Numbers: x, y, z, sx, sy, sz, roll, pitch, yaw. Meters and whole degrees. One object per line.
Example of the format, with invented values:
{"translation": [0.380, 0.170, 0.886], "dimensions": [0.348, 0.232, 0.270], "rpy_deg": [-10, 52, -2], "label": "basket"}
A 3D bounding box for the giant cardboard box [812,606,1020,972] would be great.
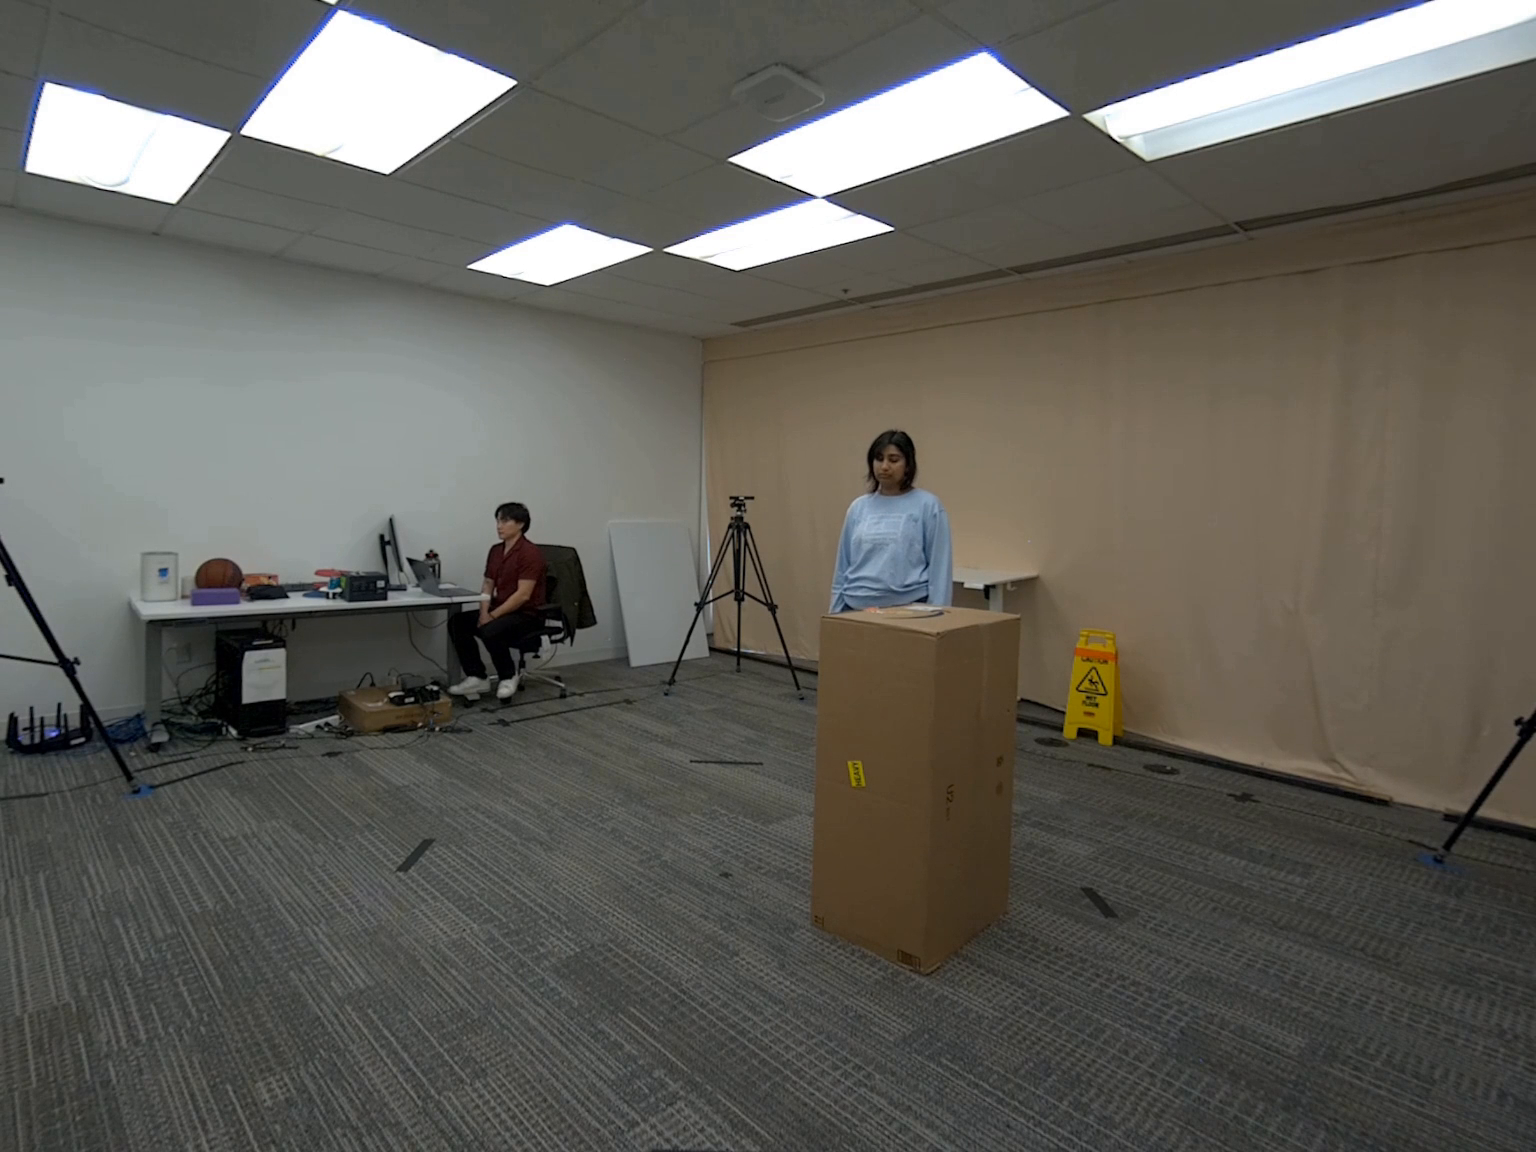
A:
{"translation": [0.487, 0.637, 2.796], "dimensions": [0.458, 1.024, 0.571], "rpy_deg": [4, 5, 43], "label": "giant cardboard box"}
